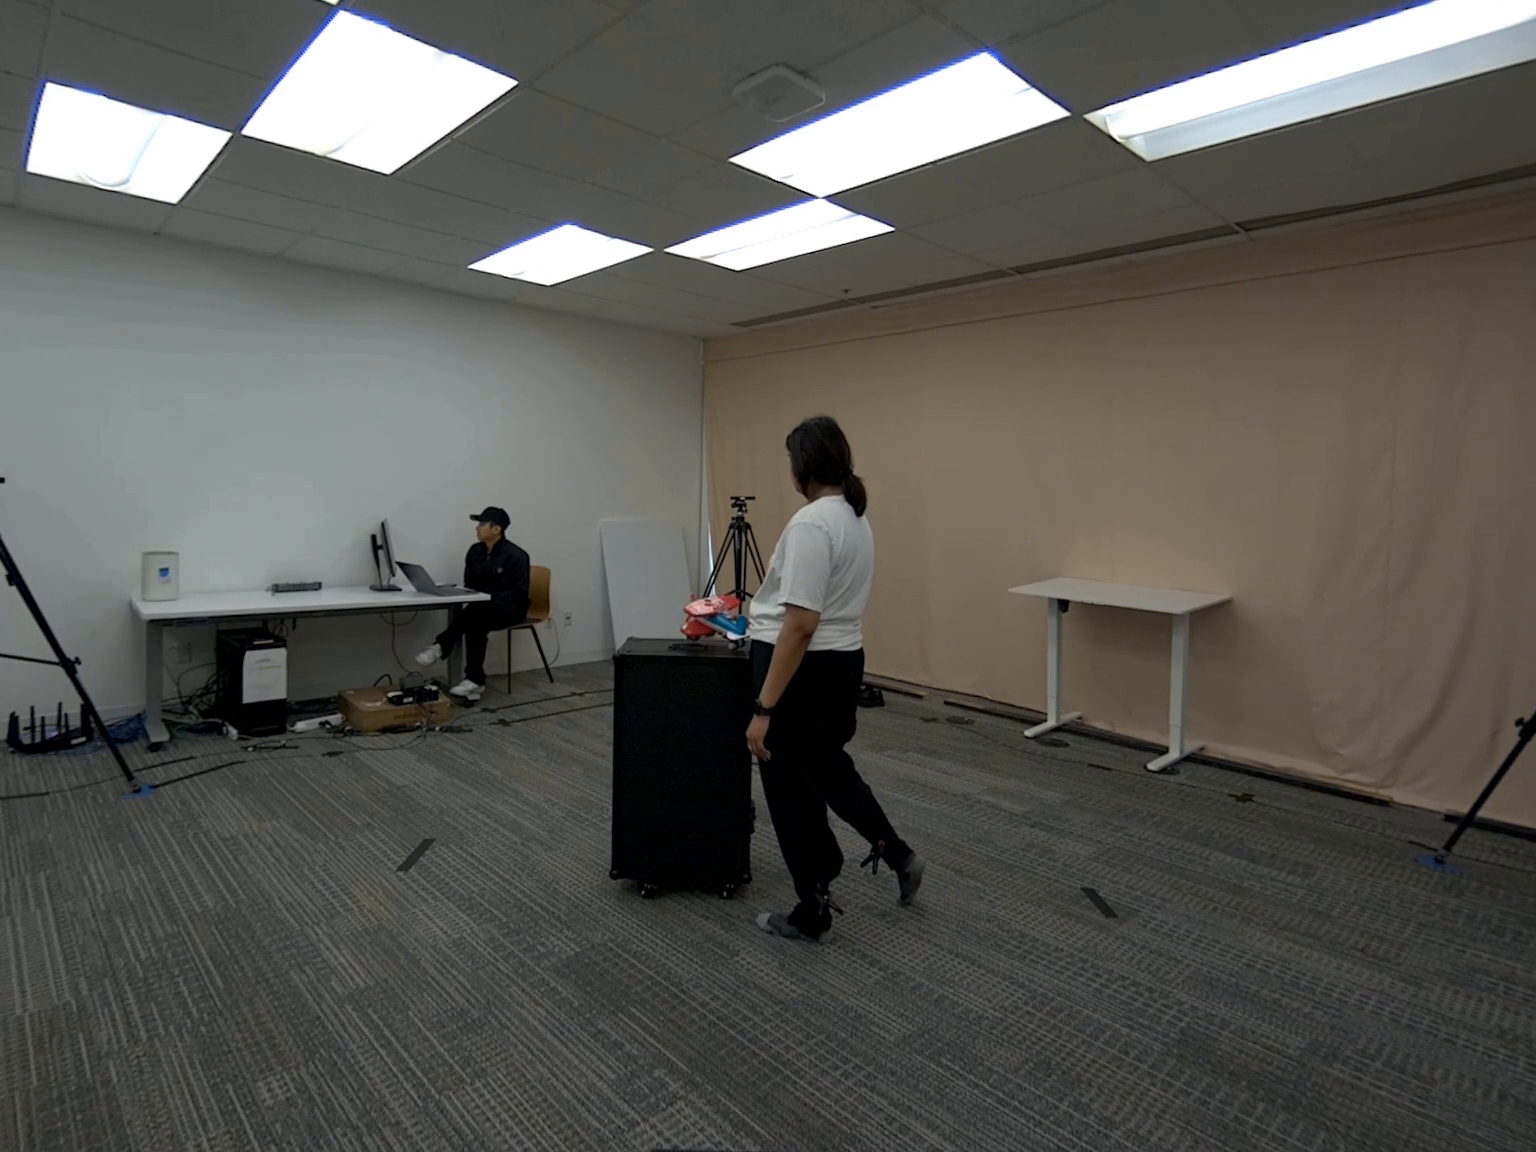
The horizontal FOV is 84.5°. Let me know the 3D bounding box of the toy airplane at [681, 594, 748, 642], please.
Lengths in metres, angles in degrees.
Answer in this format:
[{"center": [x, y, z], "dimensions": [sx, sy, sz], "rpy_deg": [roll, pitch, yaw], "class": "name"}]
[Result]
[{"center": [-0.185, 0.160, 3.042], "dimensions": [0.262, 0.155, 0.250], "rpy_deg": [3, 11, 12], "class": "toy airplane"}]
